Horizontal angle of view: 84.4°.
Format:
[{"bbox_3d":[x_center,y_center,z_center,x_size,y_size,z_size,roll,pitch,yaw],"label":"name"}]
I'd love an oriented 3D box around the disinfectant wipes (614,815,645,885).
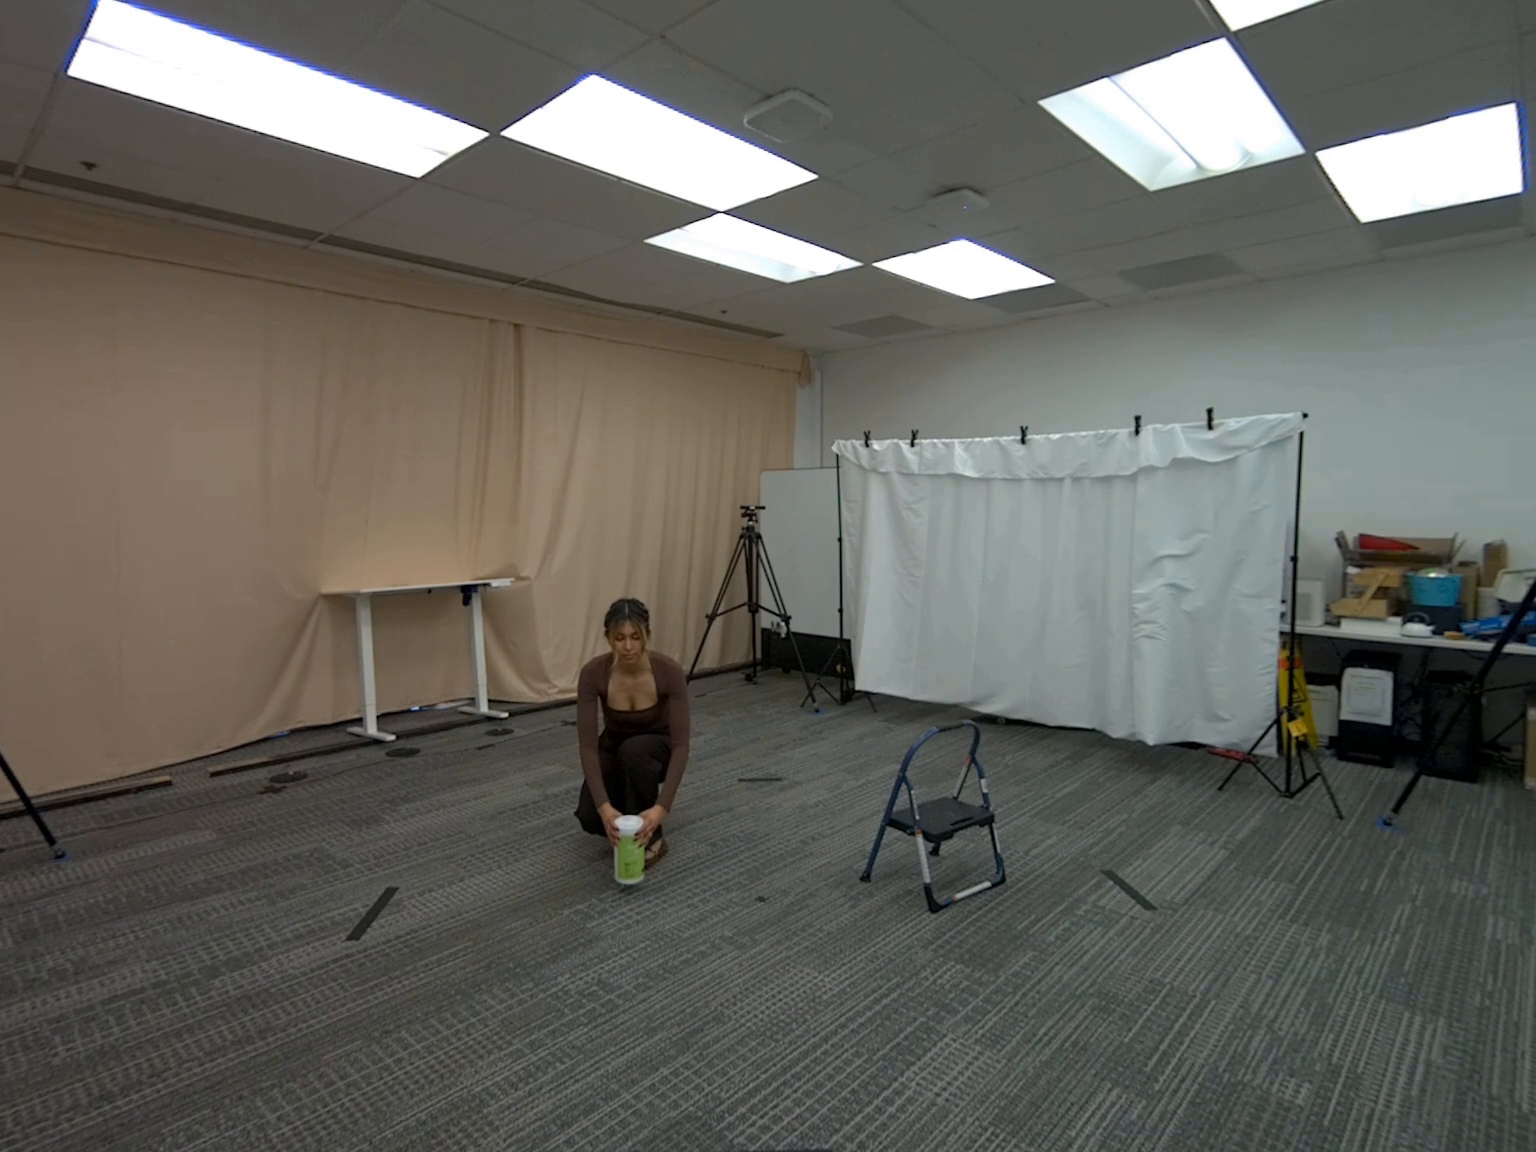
[{"bbox_3d":[-0.500,0.981,3.034,0.117,0.216,0.118,1,8,-2],"label":"disinfectant wipes"}]
